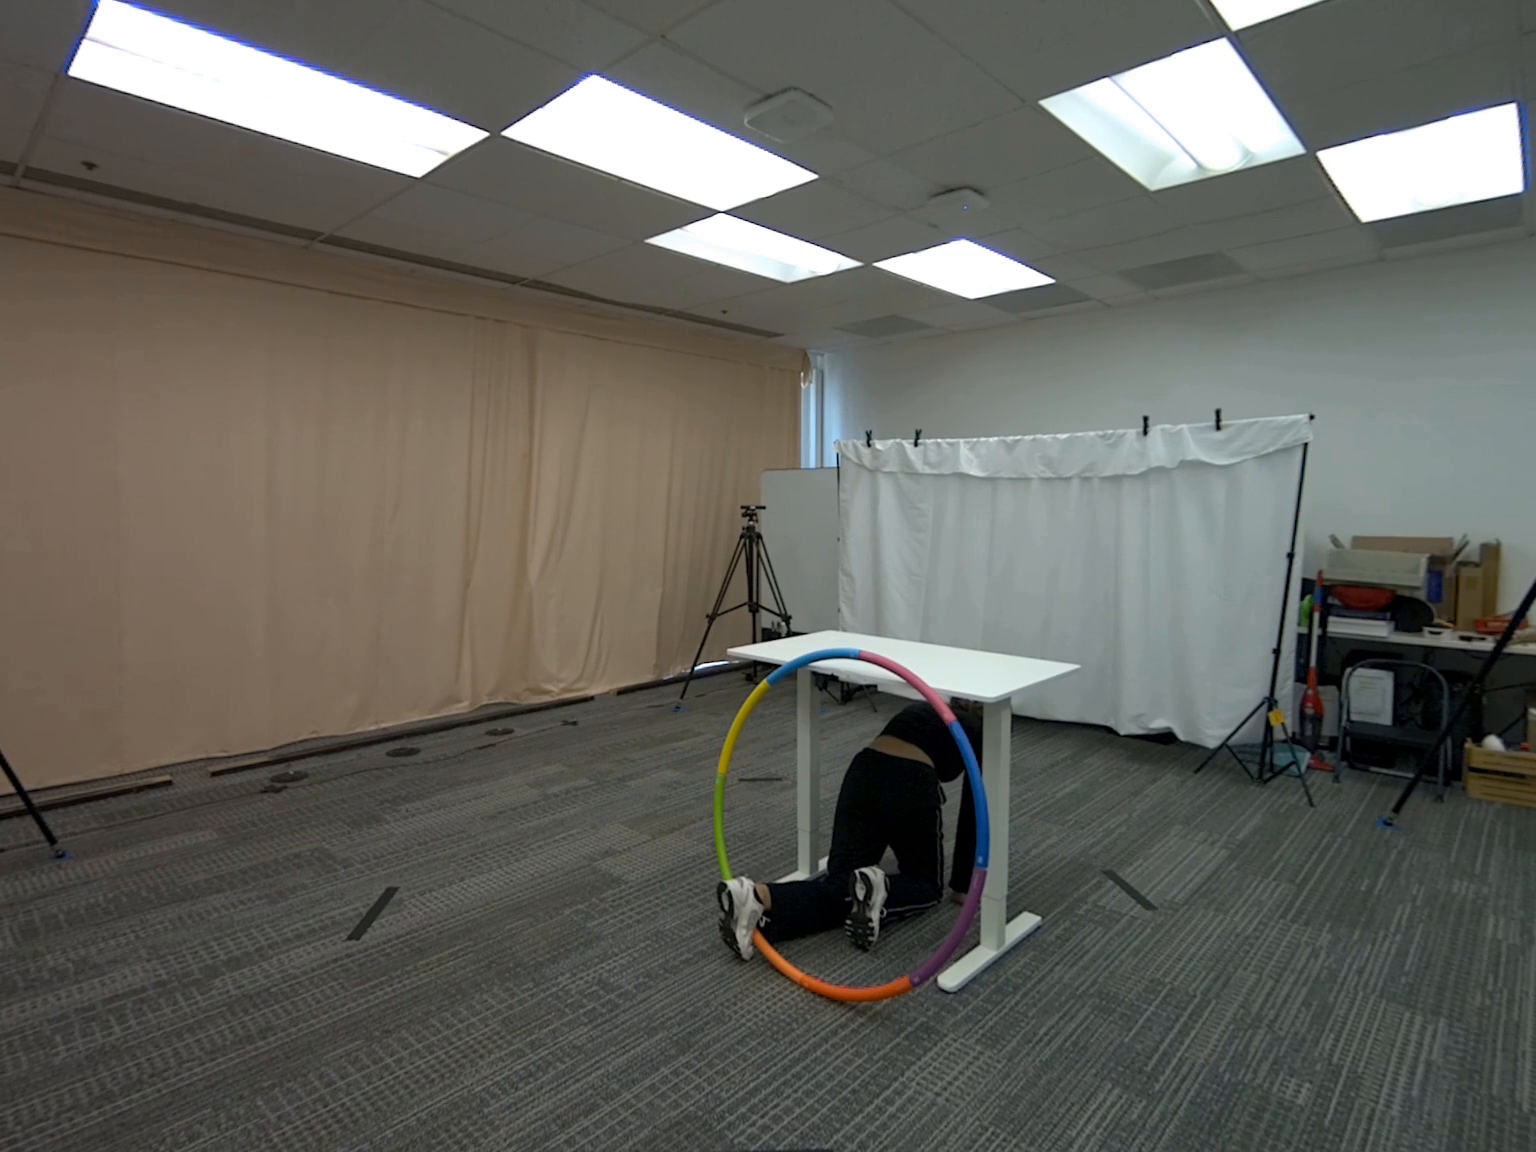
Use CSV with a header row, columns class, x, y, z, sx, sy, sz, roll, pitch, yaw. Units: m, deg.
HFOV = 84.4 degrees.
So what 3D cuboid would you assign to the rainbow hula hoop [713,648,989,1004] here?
class,x,y,z,sx,sy,sz,roll,pitch,yaw
rainbow hula hoop,0.197,0.712,2.496,1.011,0.982,0.034,4,-10,43
